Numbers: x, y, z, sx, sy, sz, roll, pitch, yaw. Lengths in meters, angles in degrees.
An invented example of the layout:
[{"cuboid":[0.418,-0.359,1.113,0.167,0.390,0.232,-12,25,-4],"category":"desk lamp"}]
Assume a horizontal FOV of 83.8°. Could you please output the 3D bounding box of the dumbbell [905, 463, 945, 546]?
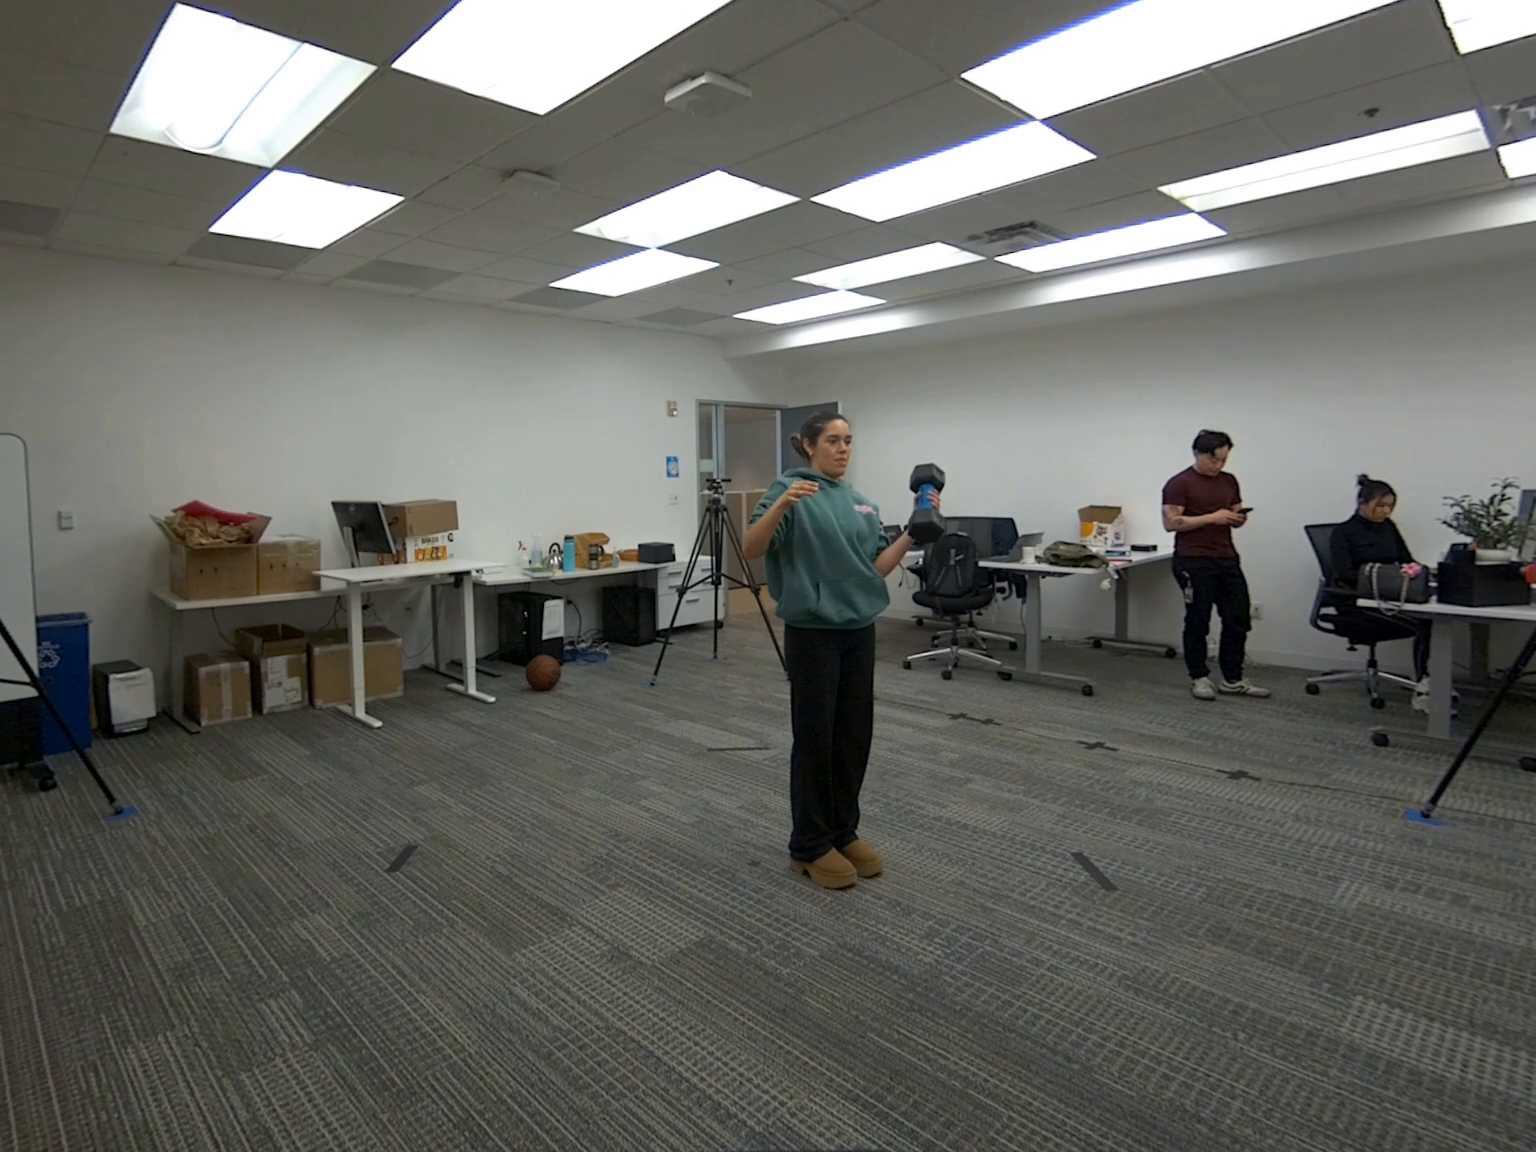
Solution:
[{"cuboid":[0.526,-0.246,2.913,0.125,0.300,0.105,-6,-44,18],"category":"dumbbell"}]
